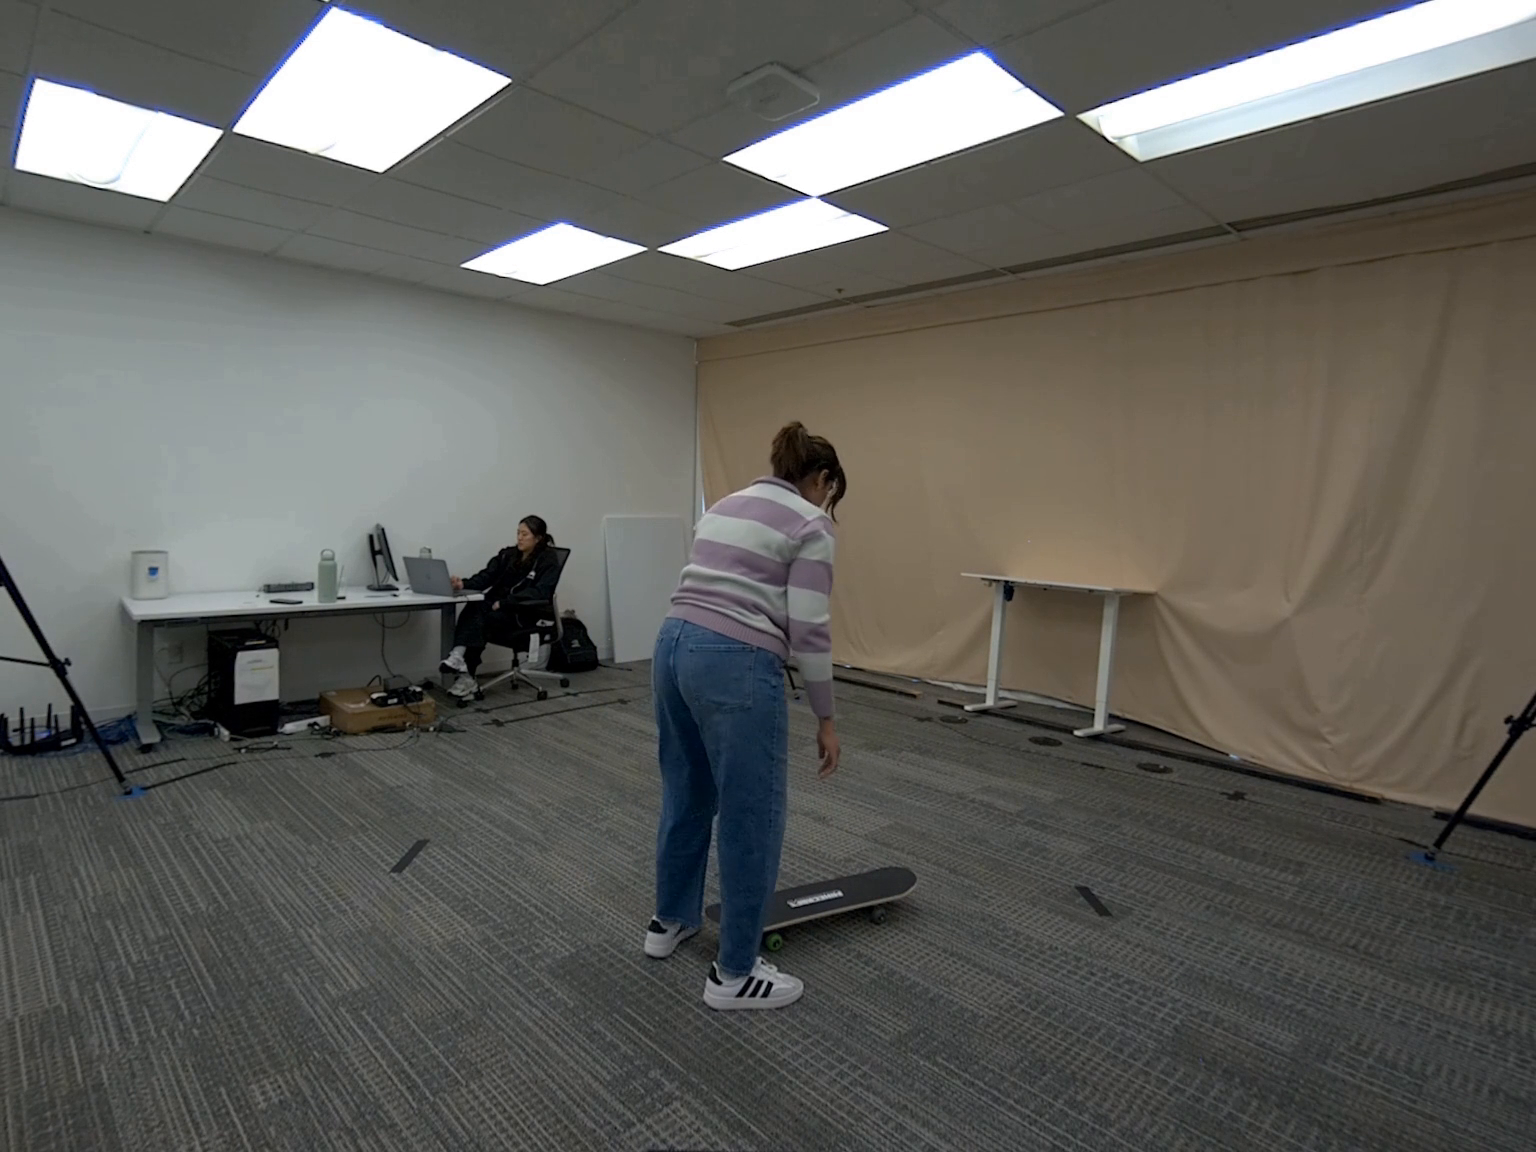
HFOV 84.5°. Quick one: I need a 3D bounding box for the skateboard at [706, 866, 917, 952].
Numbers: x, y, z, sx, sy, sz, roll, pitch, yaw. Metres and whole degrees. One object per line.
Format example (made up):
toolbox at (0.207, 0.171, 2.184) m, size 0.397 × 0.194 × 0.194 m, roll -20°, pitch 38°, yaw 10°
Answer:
skateboard at (0.151, 1.081, 2.750) m, size 0.771 × 0.110 × 0.198 m, roll -2°, pitch 6°, yaw -27°
